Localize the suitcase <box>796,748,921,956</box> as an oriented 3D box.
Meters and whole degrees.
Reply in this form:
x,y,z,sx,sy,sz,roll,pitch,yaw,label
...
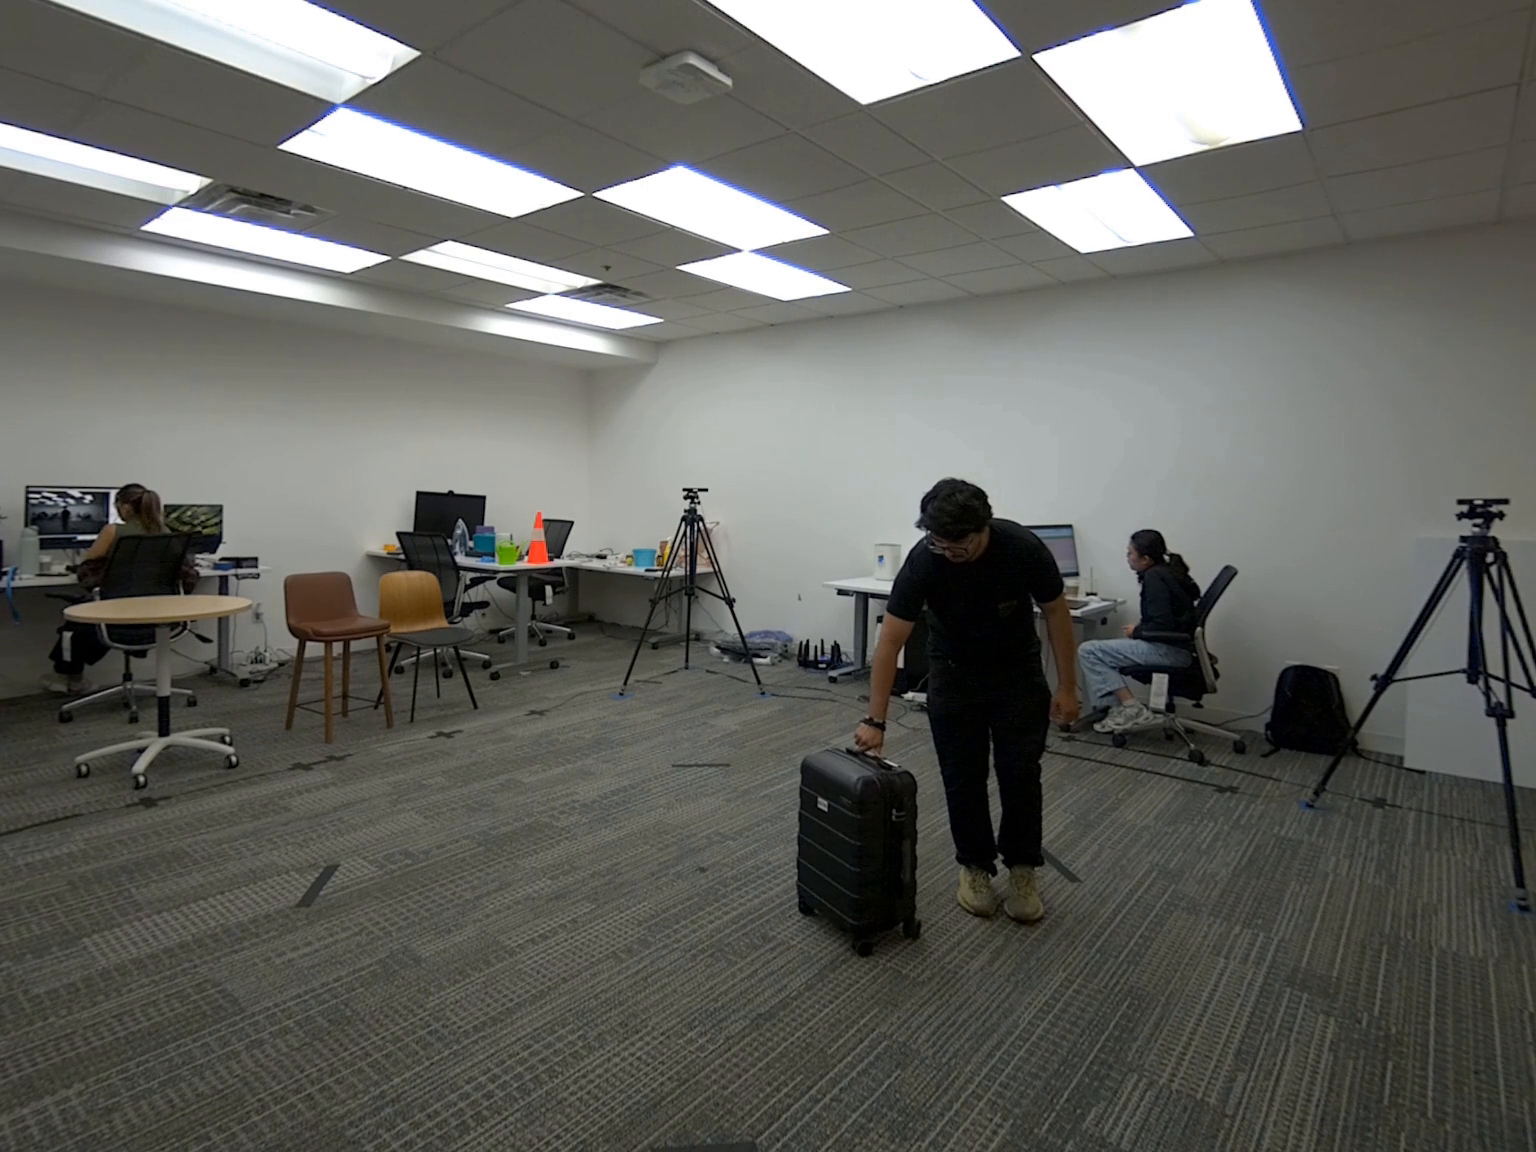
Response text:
x,y,z,sx,sy,sz,roll,pitch,yaw,label
0.281,0.841,2.721,0.242,0.547,0.387,-2,5,-31,suitcase
